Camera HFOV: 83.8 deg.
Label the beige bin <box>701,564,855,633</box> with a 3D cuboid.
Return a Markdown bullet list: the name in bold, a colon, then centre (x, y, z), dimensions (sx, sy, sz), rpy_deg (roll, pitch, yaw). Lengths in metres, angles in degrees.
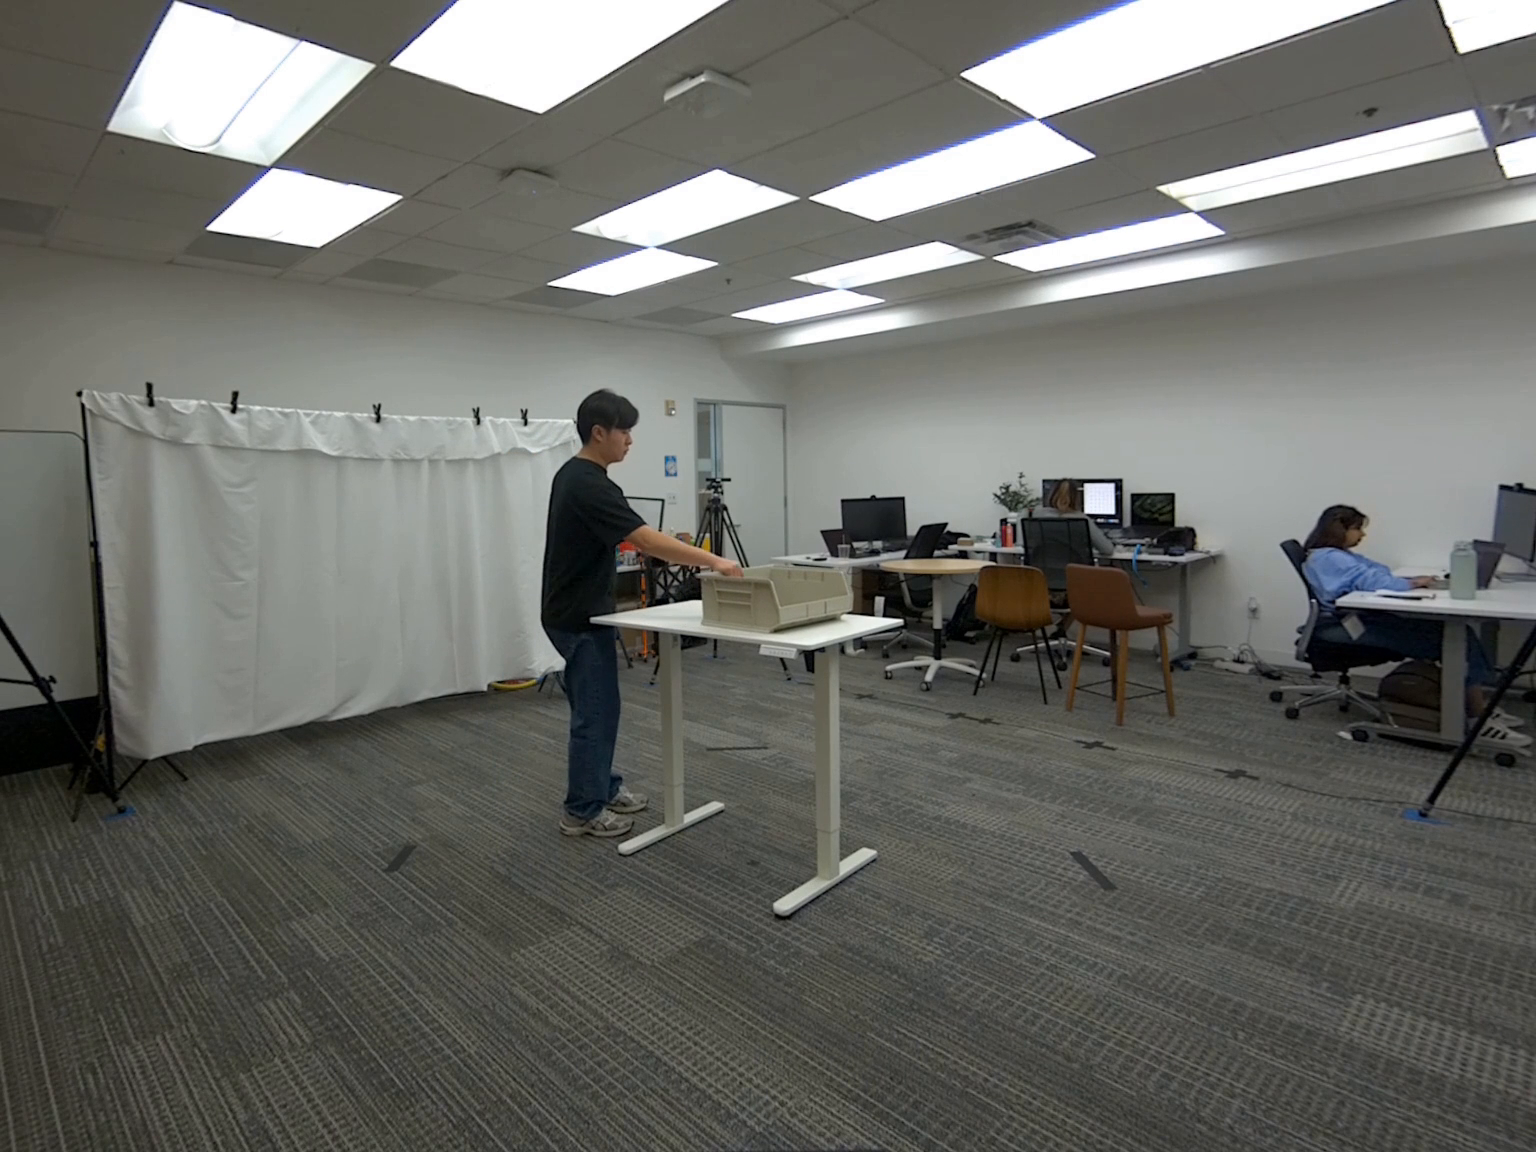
- **beige bin**: centre (0.035, 0.078, 3.024), dimensions (0.389, 0.188, 0.411), rpy_deg (3, 7, 42)
